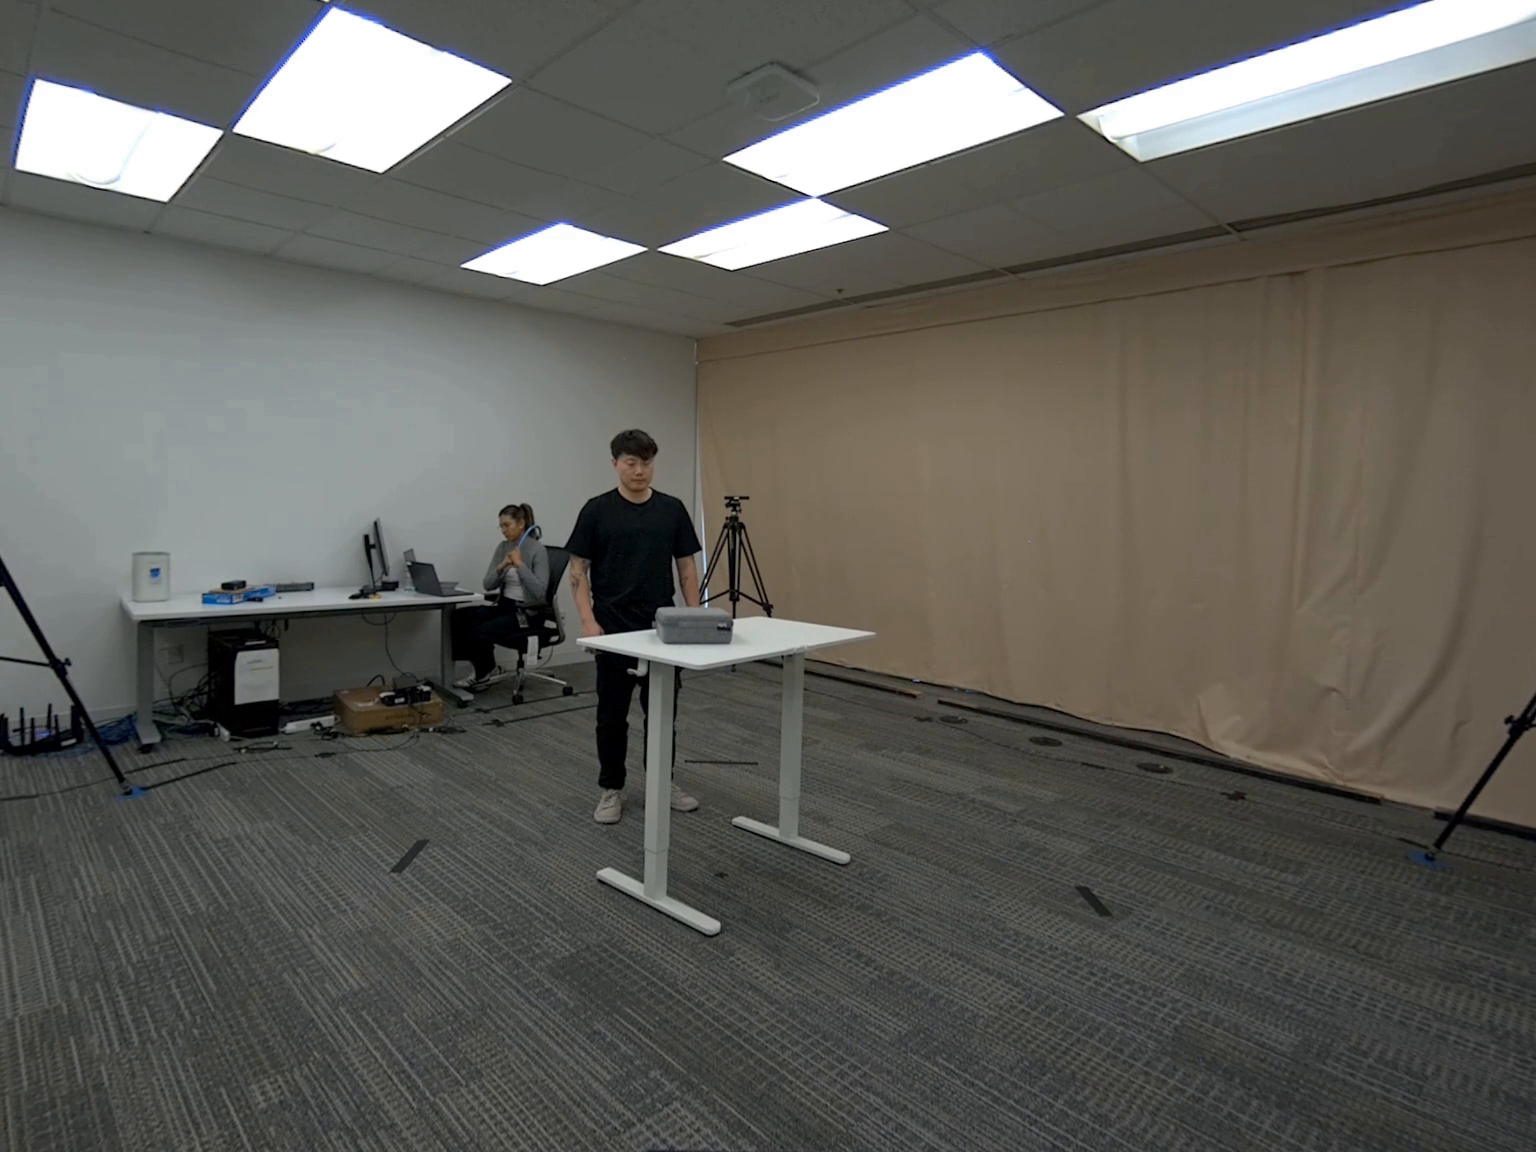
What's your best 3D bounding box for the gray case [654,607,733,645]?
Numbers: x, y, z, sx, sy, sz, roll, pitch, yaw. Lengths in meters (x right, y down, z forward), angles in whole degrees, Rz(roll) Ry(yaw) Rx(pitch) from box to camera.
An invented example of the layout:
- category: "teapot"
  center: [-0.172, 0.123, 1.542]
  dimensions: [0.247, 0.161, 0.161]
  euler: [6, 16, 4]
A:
- category: "gray case"
  center: [-0.275, 0.174, 3.015]
  dimensions: [0.254, 0.104, 0.263]
  euler: [0, 4, -12]
